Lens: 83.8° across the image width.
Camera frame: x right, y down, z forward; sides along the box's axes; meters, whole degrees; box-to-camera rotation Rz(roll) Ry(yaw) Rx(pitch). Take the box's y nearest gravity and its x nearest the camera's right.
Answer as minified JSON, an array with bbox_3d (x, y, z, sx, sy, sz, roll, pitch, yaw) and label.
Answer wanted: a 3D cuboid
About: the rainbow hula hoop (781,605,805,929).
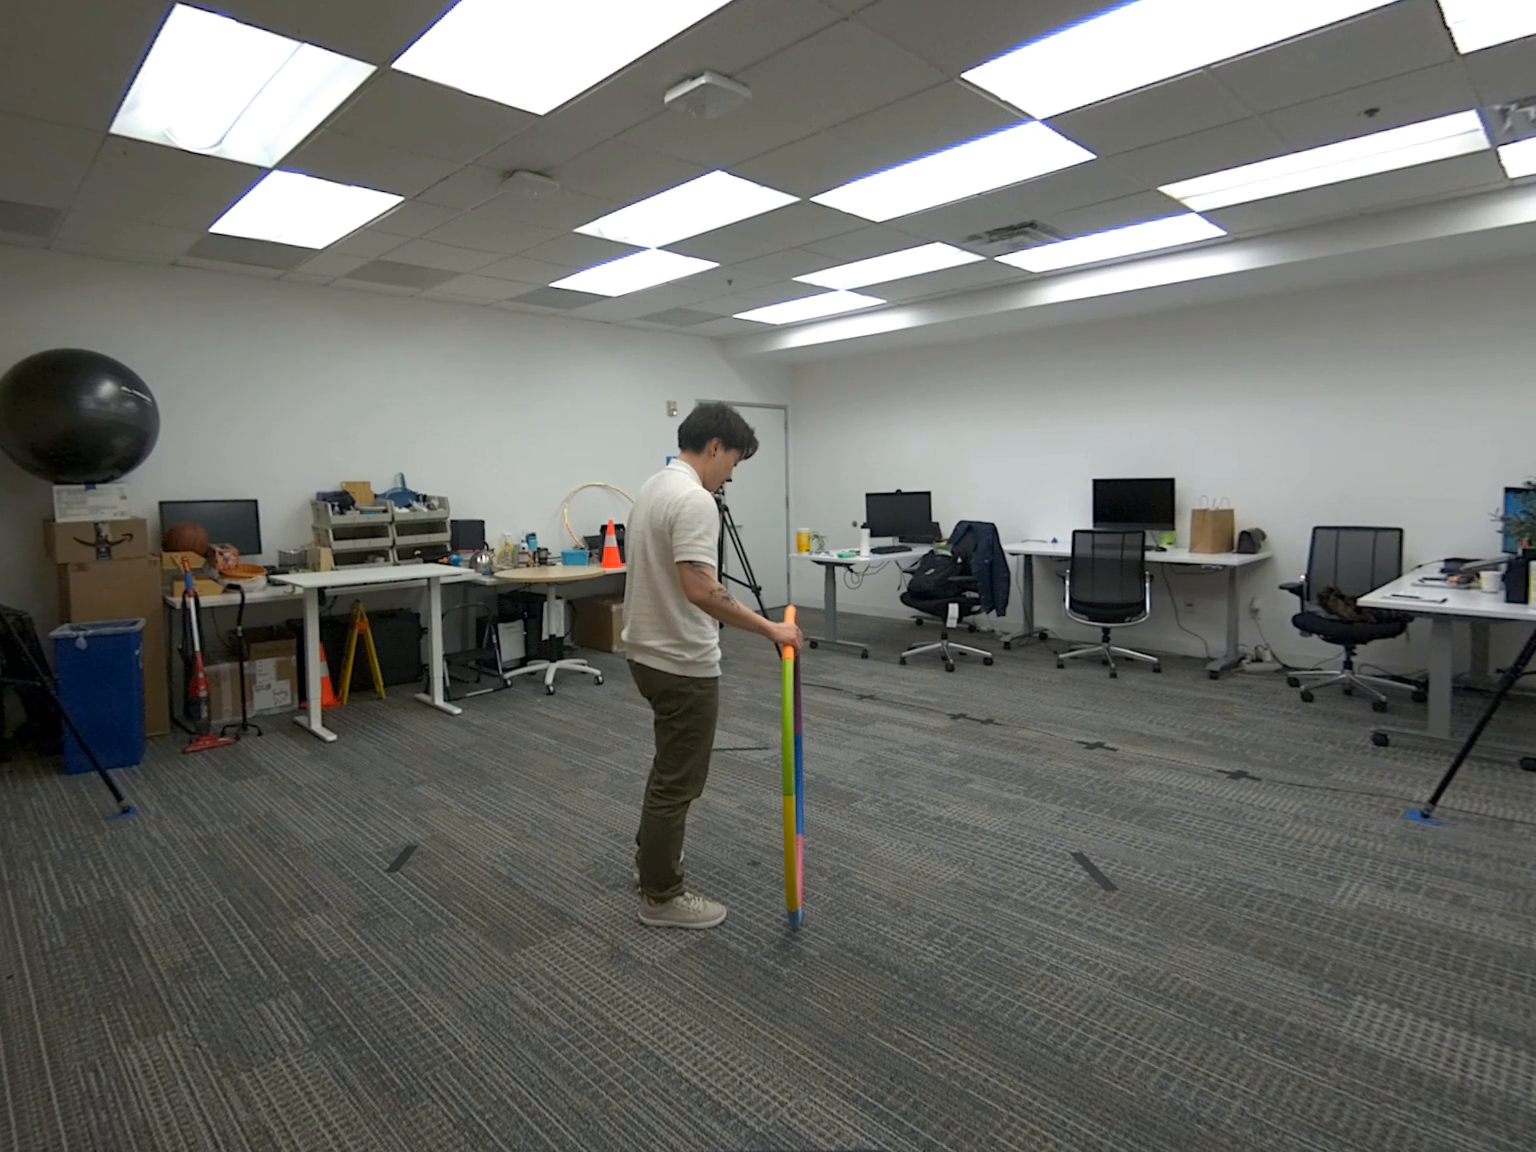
[{"bbox_3d":[0.079,0.597,2.758,0.036,0.975,0.978,-1,5,3],"label":"rainbow hula hoop"}]
